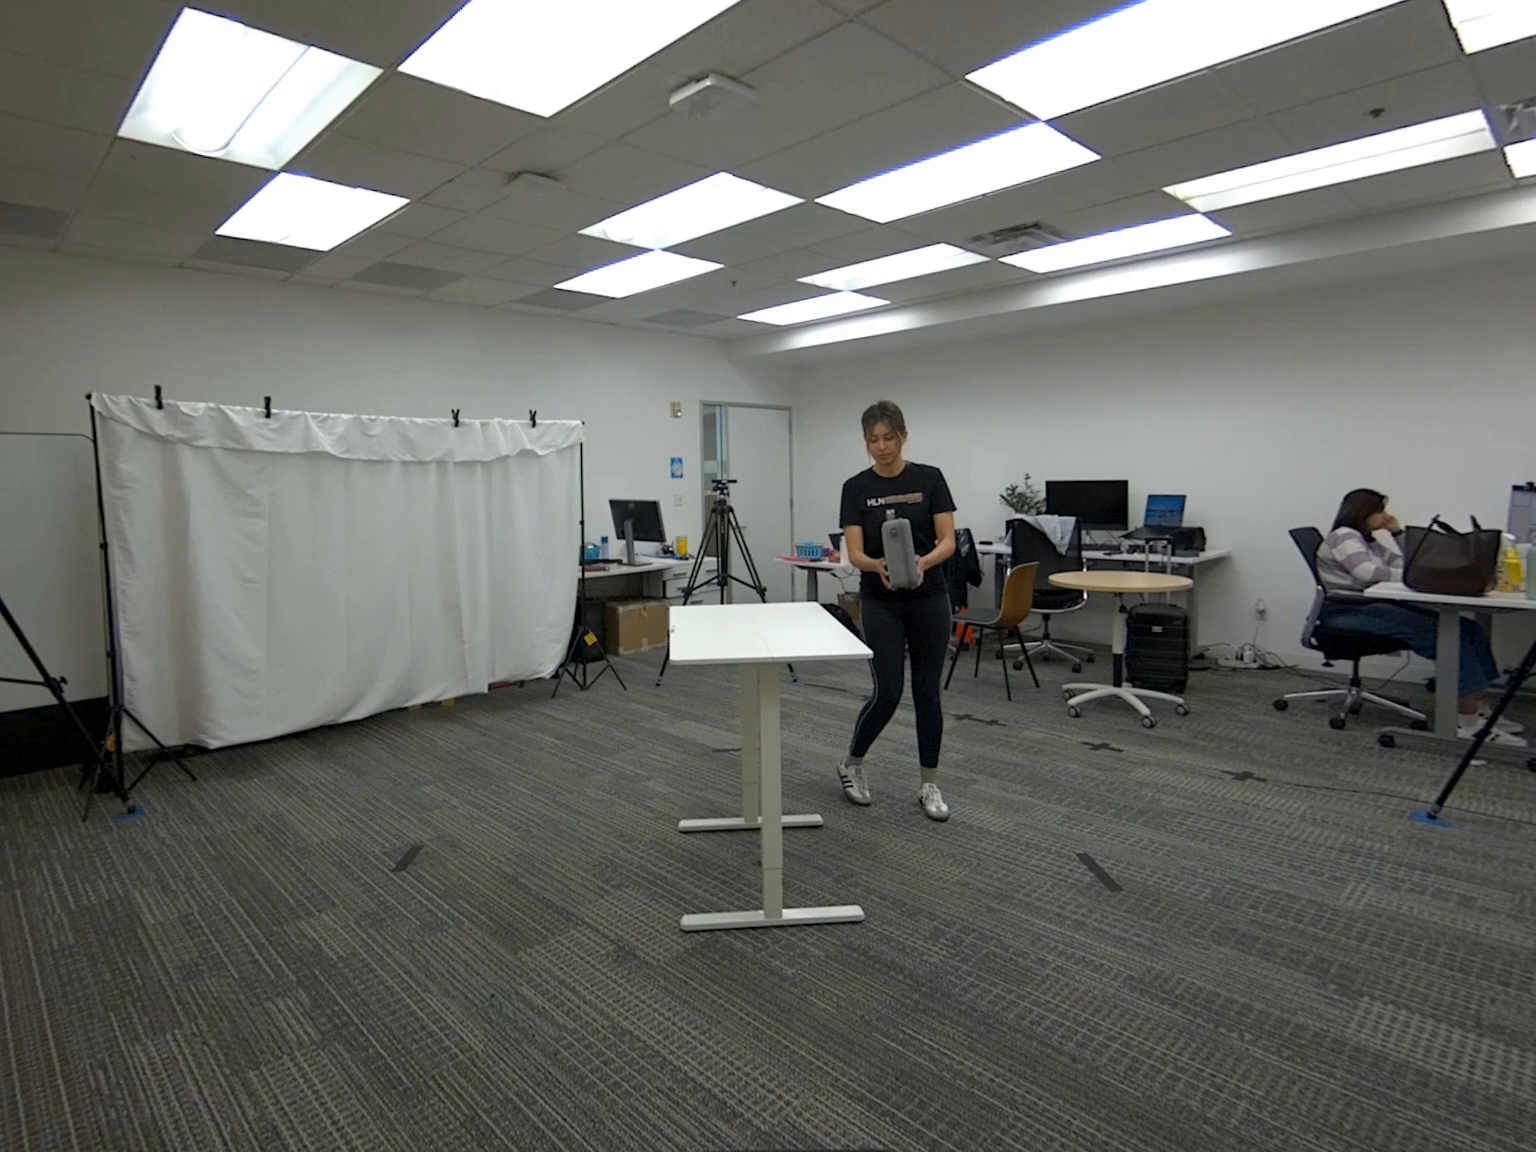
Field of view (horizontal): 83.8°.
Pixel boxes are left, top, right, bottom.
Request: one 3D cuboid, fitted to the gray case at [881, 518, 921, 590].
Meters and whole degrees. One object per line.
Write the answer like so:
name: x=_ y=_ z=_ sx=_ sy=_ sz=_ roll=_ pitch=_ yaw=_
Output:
gray case: x=0.497 y=-0.088 z=3.247 sx=0.105 sy=0.262 sz=0.253 roll=-9 pitch=-5 yaw=10
